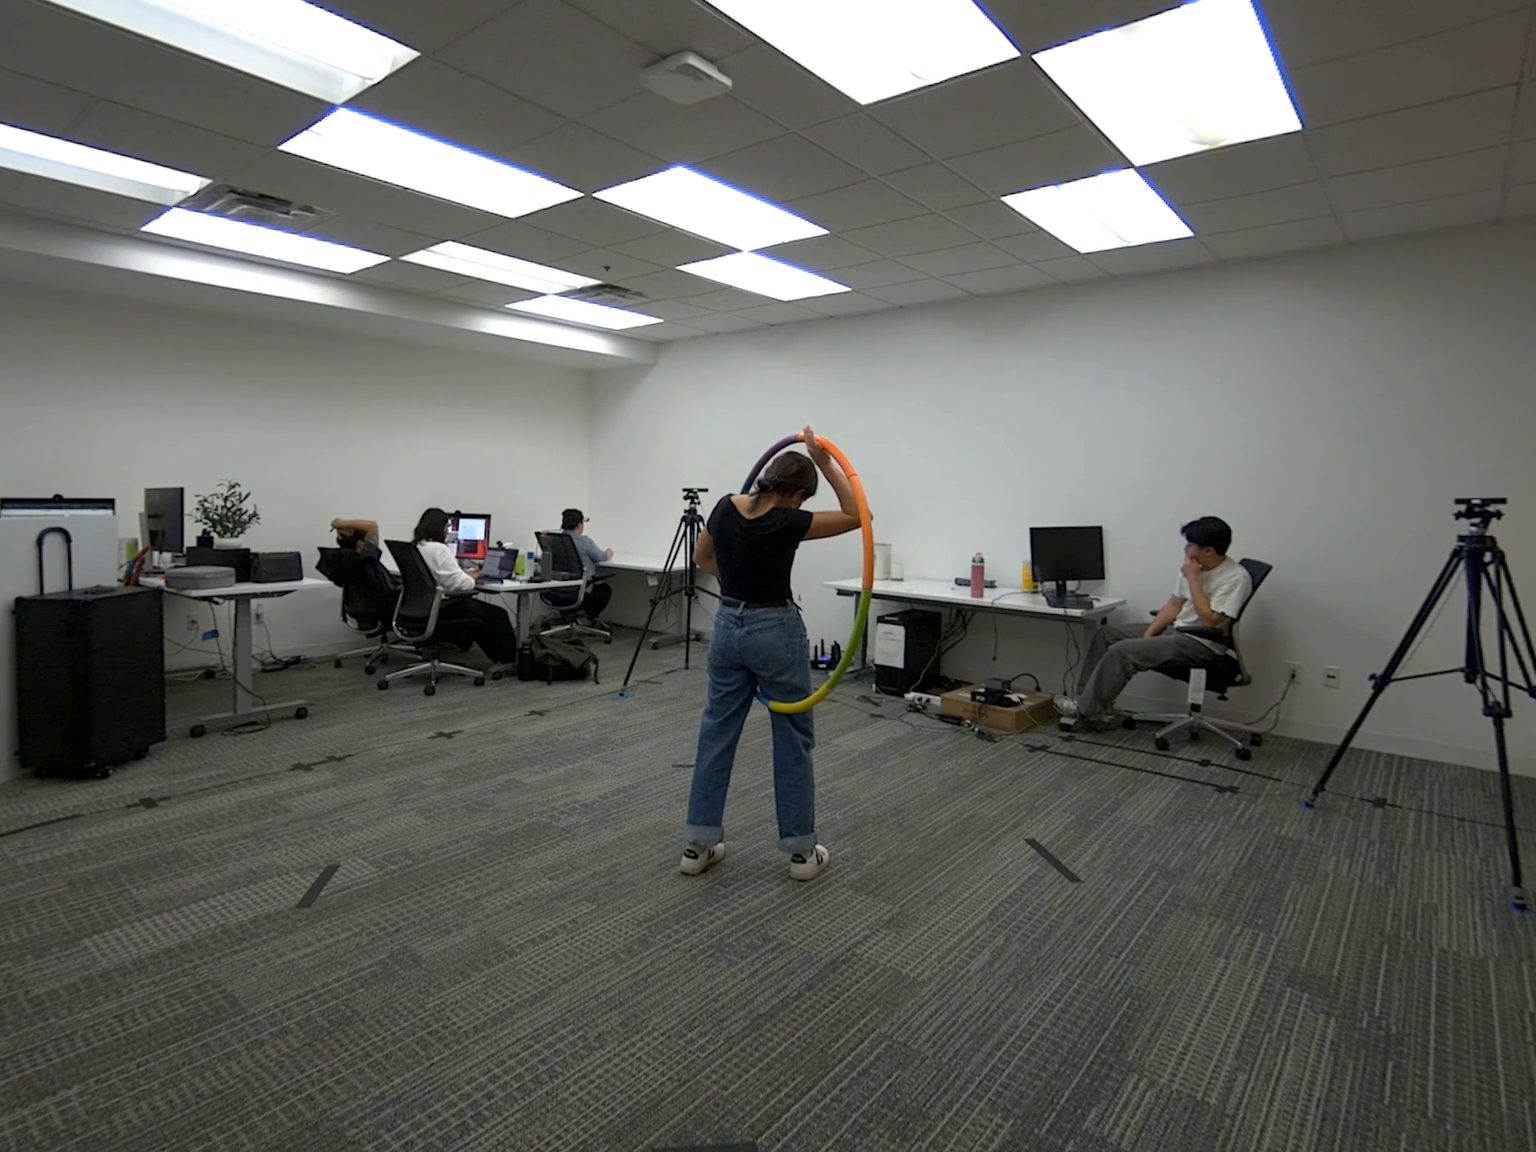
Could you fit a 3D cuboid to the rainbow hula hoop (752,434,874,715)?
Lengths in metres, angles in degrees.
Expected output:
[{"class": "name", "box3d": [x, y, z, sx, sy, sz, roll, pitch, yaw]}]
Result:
[{"class": "rainbow hula hoop", "box3d": [0.065, -0.033, 3.074, 0.034, 0.977, 1.007, 4, 2, -29]}]
